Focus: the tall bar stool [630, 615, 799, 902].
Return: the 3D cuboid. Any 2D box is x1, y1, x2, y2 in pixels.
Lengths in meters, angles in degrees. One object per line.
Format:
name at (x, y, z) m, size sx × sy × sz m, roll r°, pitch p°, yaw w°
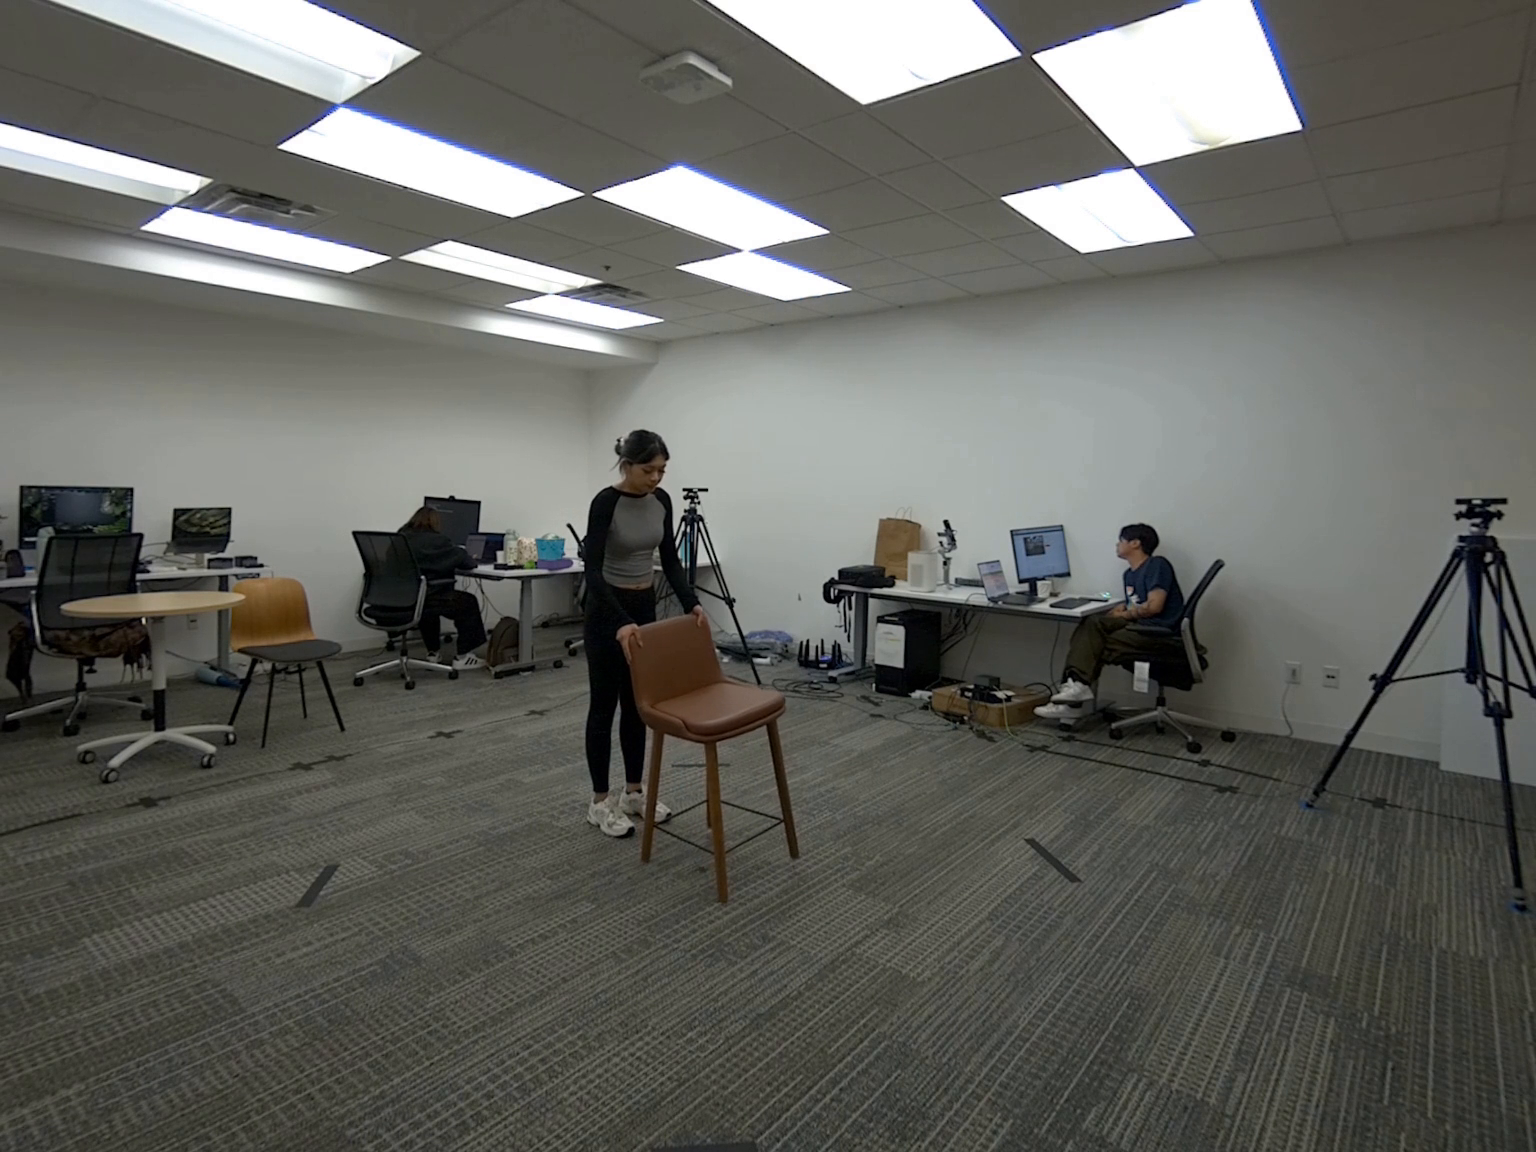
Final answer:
tall bar stool at (-0.221, 0.617, 3.111) m, size 0.482 × 0.885 × 0.444 m, roll 0°, pitch 7°, yaw 43°
